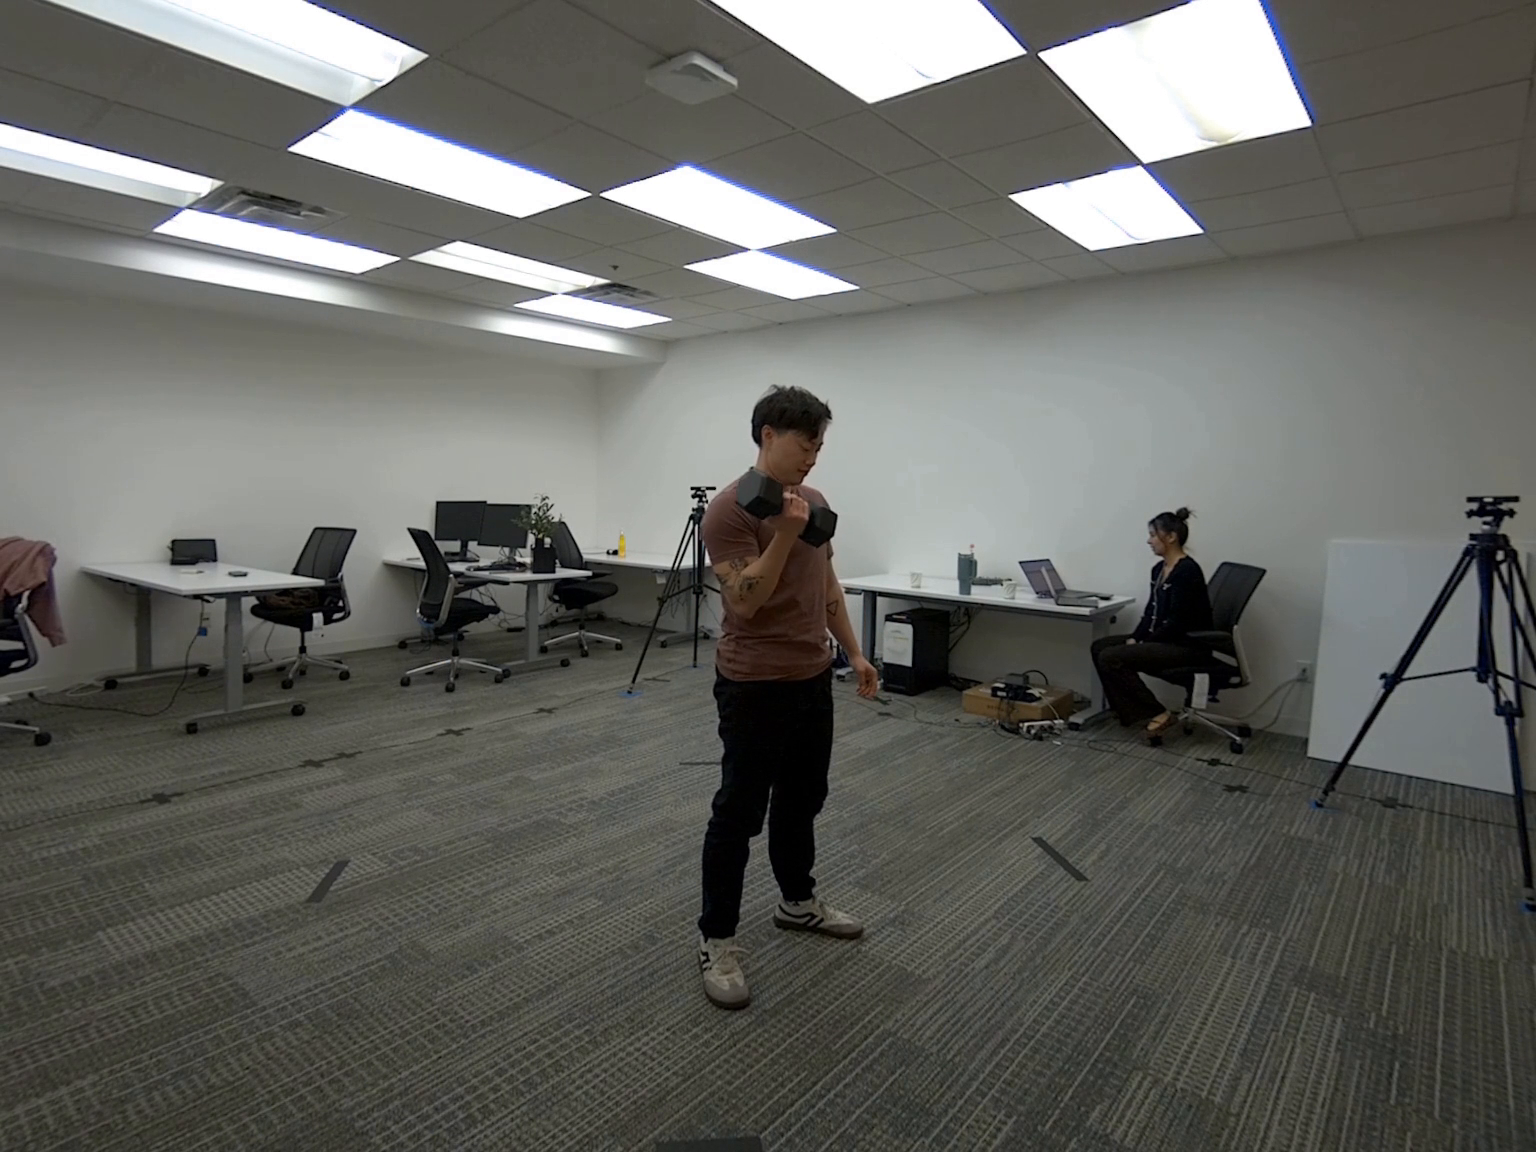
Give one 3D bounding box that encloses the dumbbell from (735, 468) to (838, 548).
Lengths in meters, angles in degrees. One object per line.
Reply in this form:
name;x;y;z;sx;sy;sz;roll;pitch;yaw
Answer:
dumbbell;0.046;-0.176;2.230;0.282;0.108;0.128;25;8;-37
